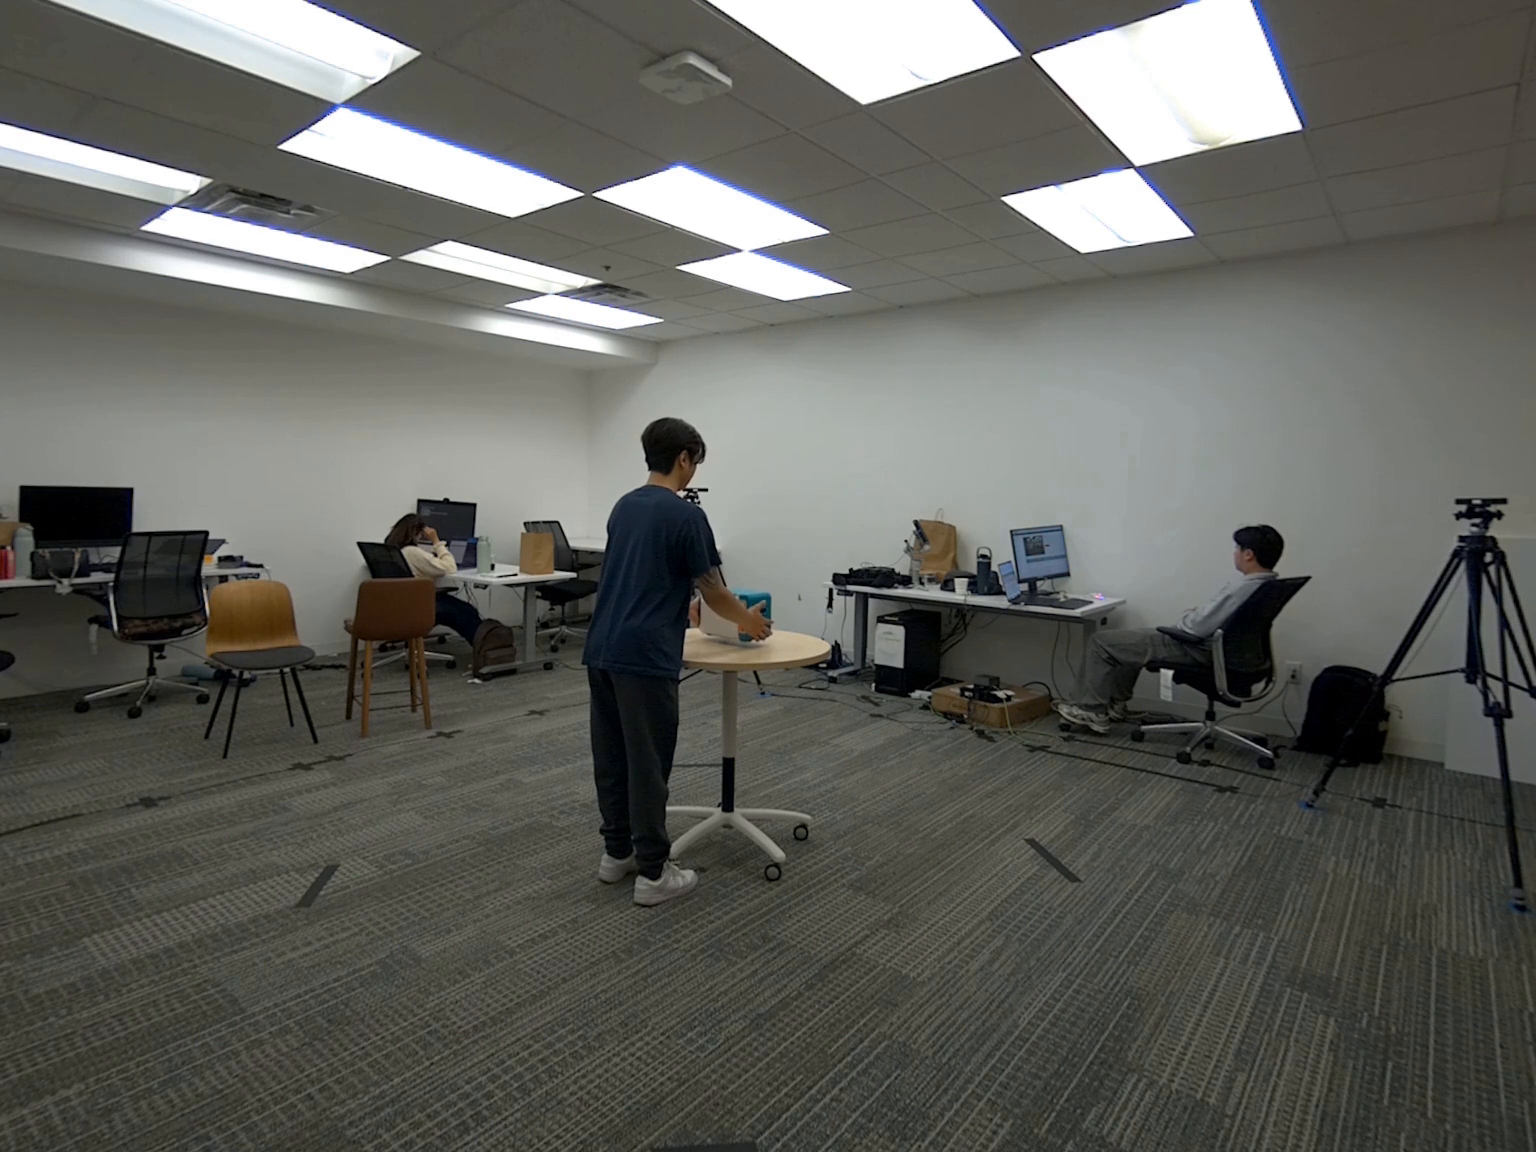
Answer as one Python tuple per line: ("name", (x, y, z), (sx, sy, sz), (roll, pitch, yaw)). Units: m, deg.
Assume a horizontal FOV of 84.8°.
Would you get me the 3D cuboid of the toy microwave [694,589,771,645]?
("toy microwave", (-0.145, 0.146, 3.302), (0.148, 0.184, 0.296), (-2, 5, -45))
